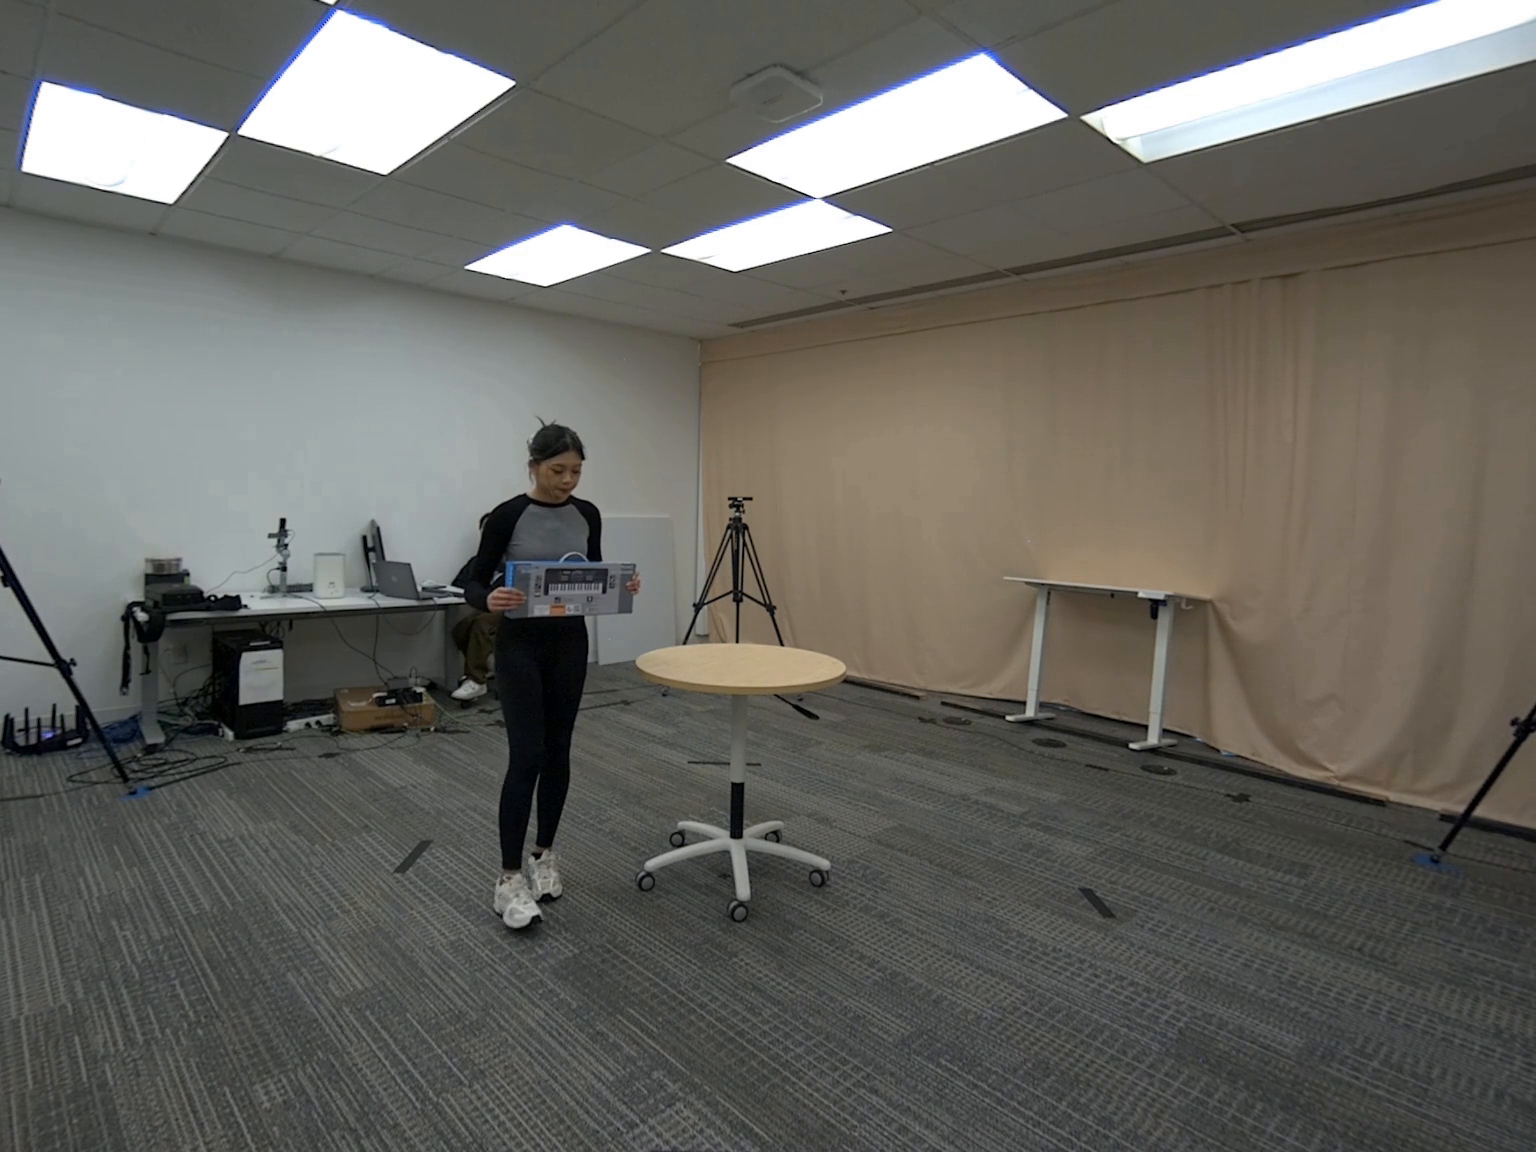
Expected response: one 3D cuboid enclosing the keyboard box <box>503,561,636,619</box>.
[{"bbox_3d":[-0.651,0.042,2.725,0.426,0.175,0.061,0,7,-39],"label":"keyboard box"}]
